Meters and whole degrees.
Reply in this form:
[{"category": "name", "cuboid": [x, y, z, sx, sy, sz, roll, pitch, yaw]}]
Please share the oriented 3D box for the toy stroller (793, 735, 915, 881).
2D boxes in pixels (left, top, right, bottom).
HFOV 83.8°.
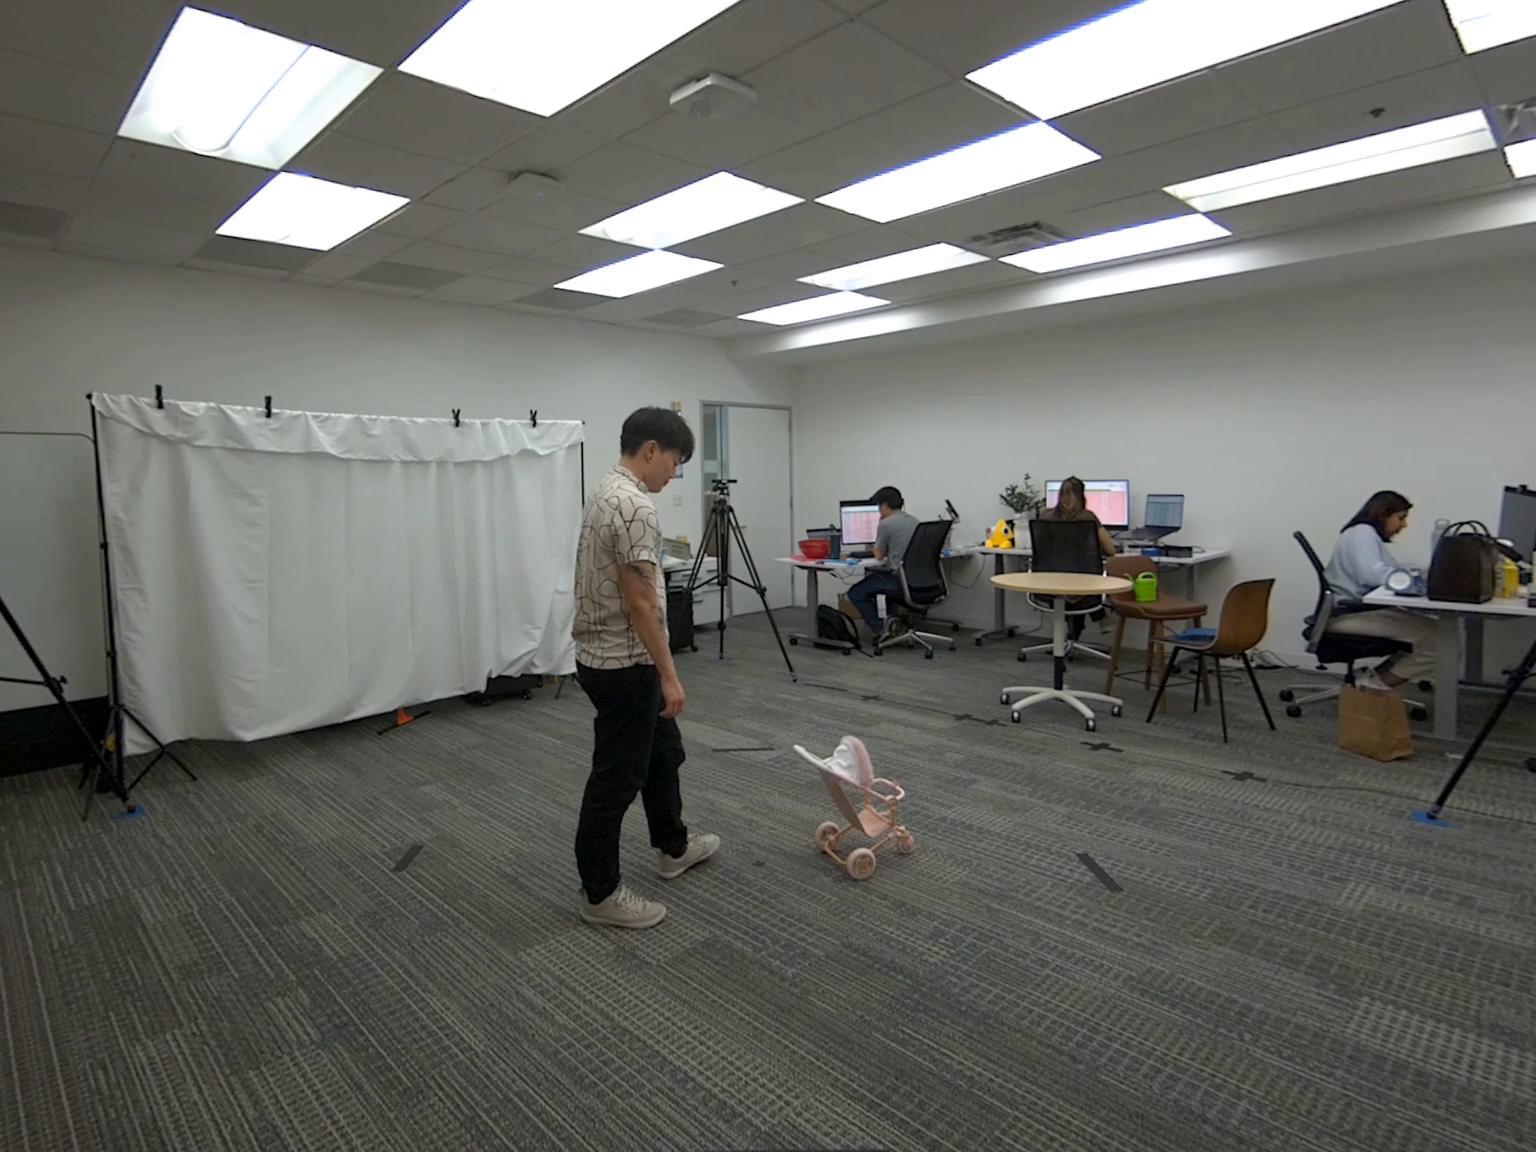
[{"category": "toy stroller", "cuboid": [0.334, 0.816, 3.099, 0.338, 0.530, 0.287, -19, 9, -15]}]
